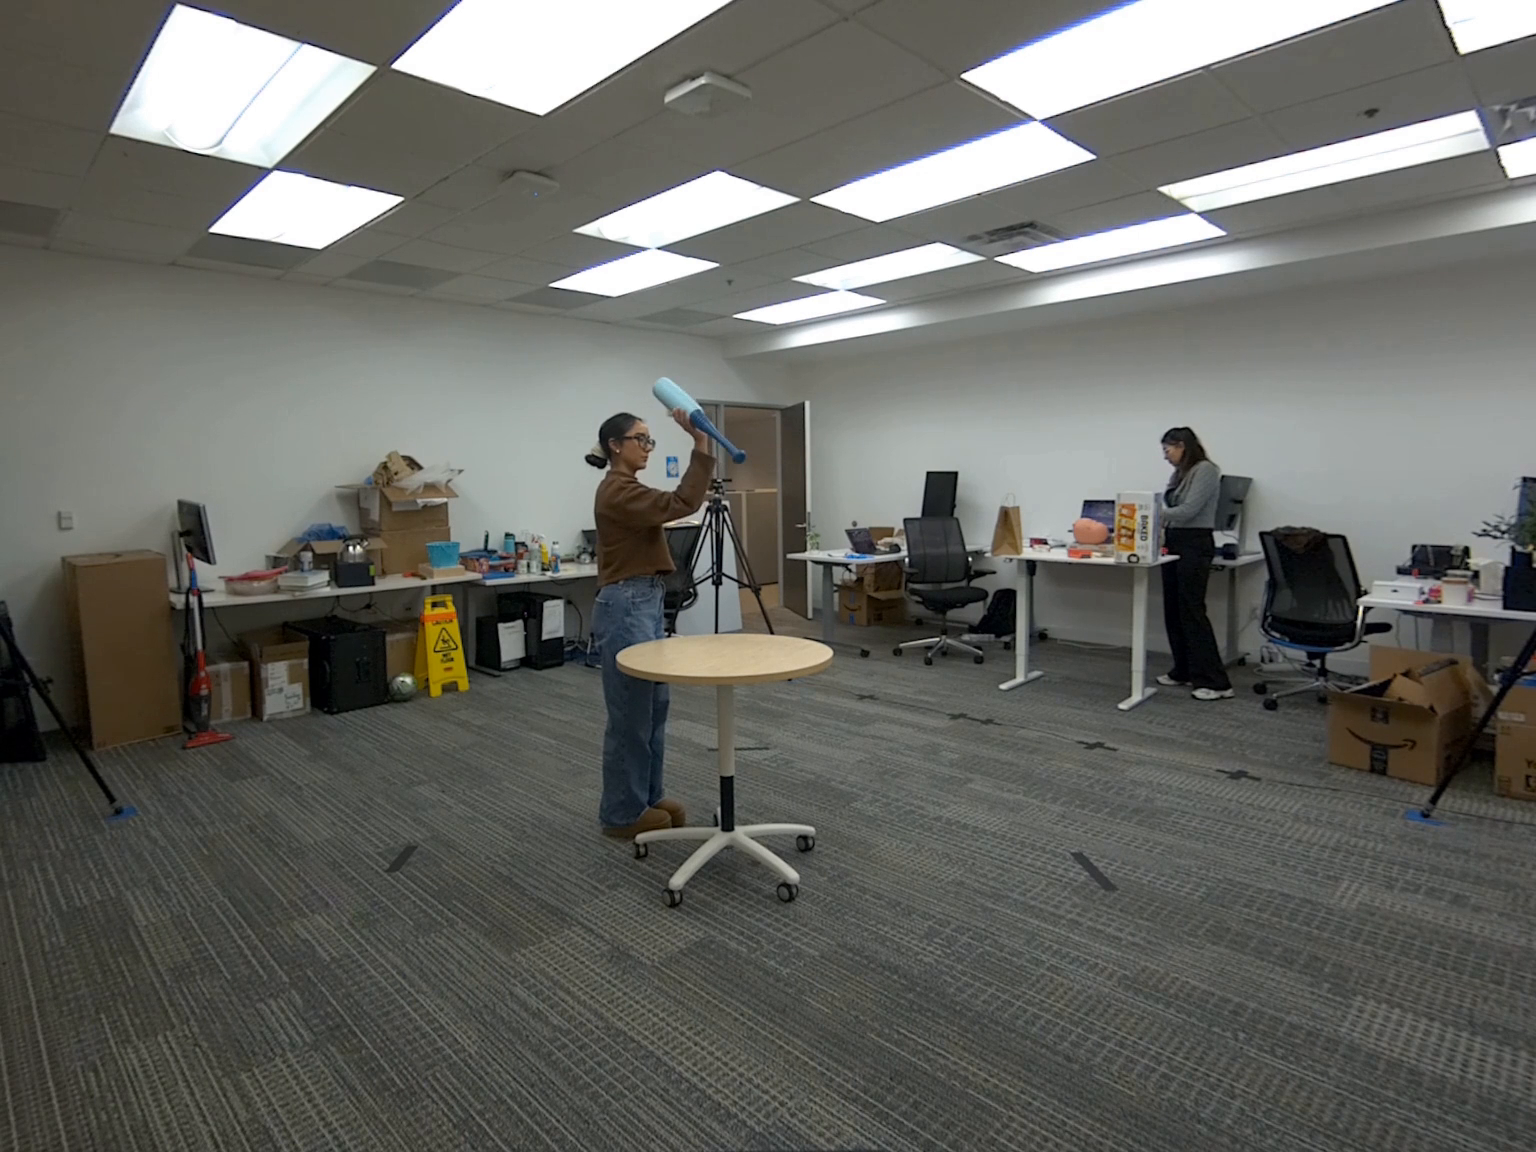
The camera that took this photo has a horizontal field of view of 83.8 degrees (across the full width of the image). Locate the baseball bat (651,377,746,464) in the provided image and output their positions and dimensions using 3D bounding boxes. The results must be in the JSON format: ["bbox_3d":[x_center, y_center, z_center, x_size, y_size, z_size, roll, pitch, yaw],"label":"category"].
[{"bbox_3d":[-0.240,-0.554,3.030,0.087,0.088,0.564,-5,37,-40],"label":"baseball bat"}]
